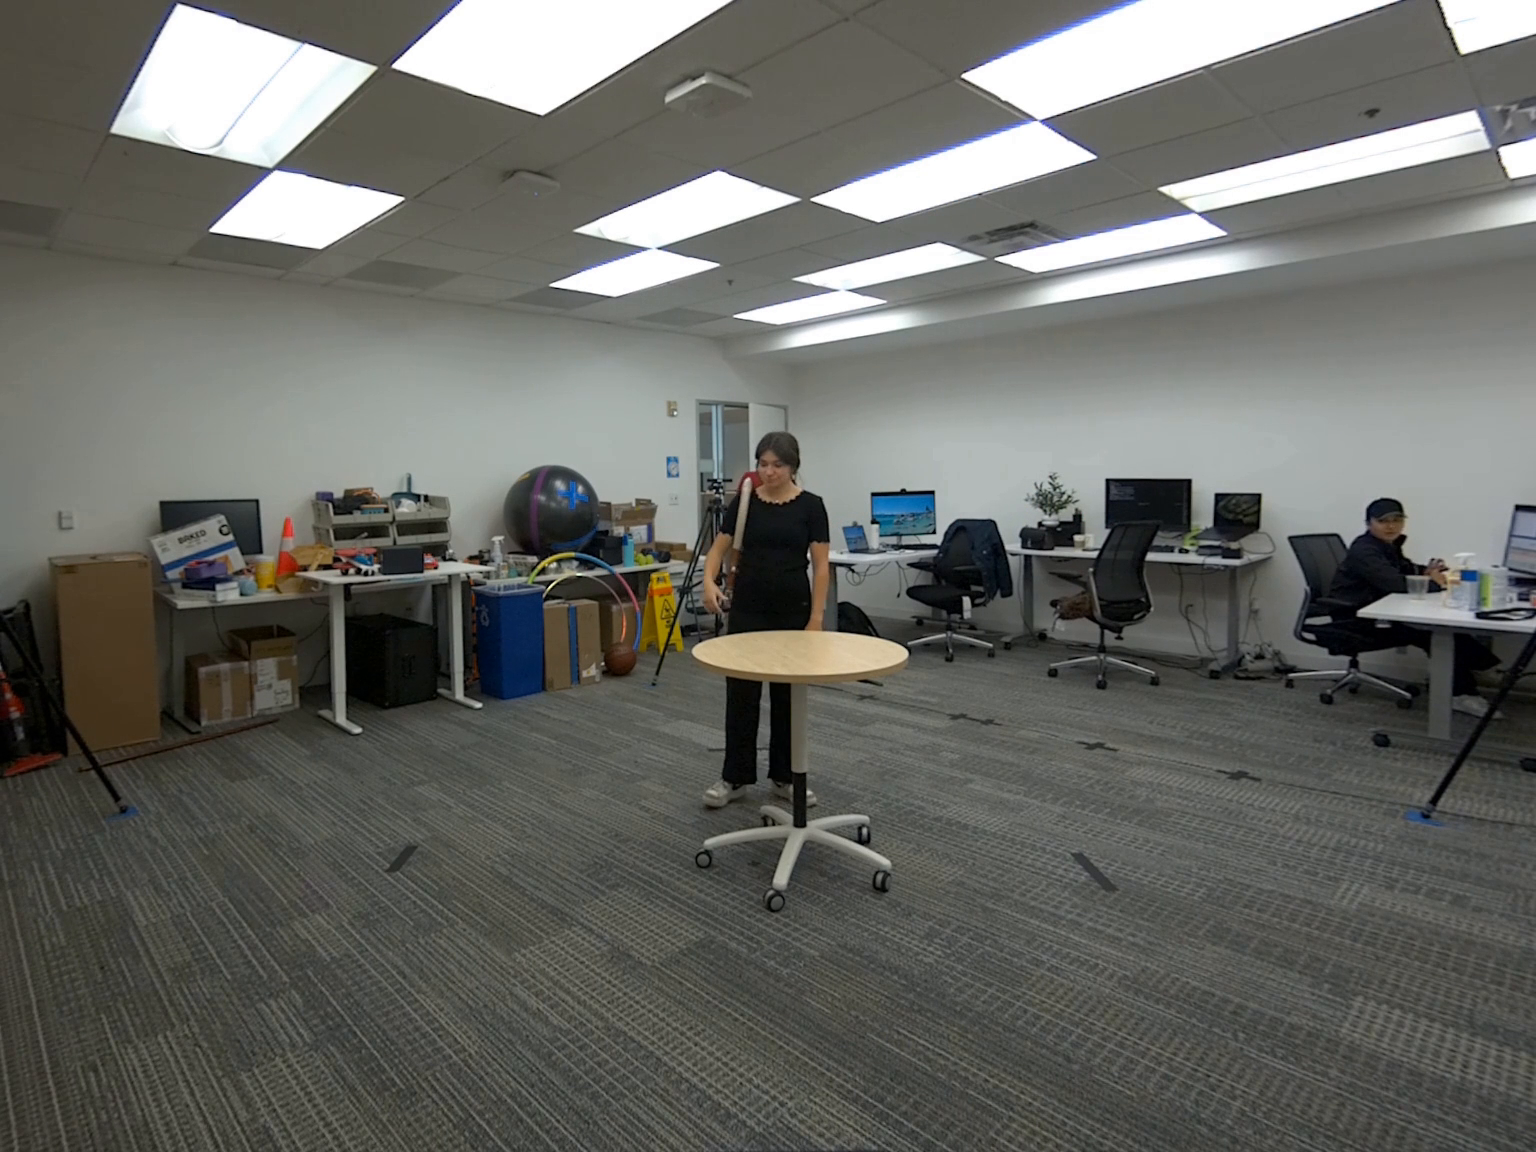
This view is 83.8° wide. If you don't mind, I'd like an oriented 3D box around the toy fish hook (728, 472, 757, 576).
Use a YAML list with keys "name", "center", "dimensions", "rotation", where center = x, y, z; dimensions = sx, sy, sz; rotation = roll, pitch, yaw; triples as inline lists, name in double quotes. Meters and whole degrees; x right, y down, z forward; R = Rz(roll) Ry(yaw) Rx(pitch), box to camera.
- name: "toy fish hook"
  center: [-0.126, -0.177, 3.738]
  dimensions: [0.048, 0.506, 0.224]
  rotation: [9, 2, 3]
